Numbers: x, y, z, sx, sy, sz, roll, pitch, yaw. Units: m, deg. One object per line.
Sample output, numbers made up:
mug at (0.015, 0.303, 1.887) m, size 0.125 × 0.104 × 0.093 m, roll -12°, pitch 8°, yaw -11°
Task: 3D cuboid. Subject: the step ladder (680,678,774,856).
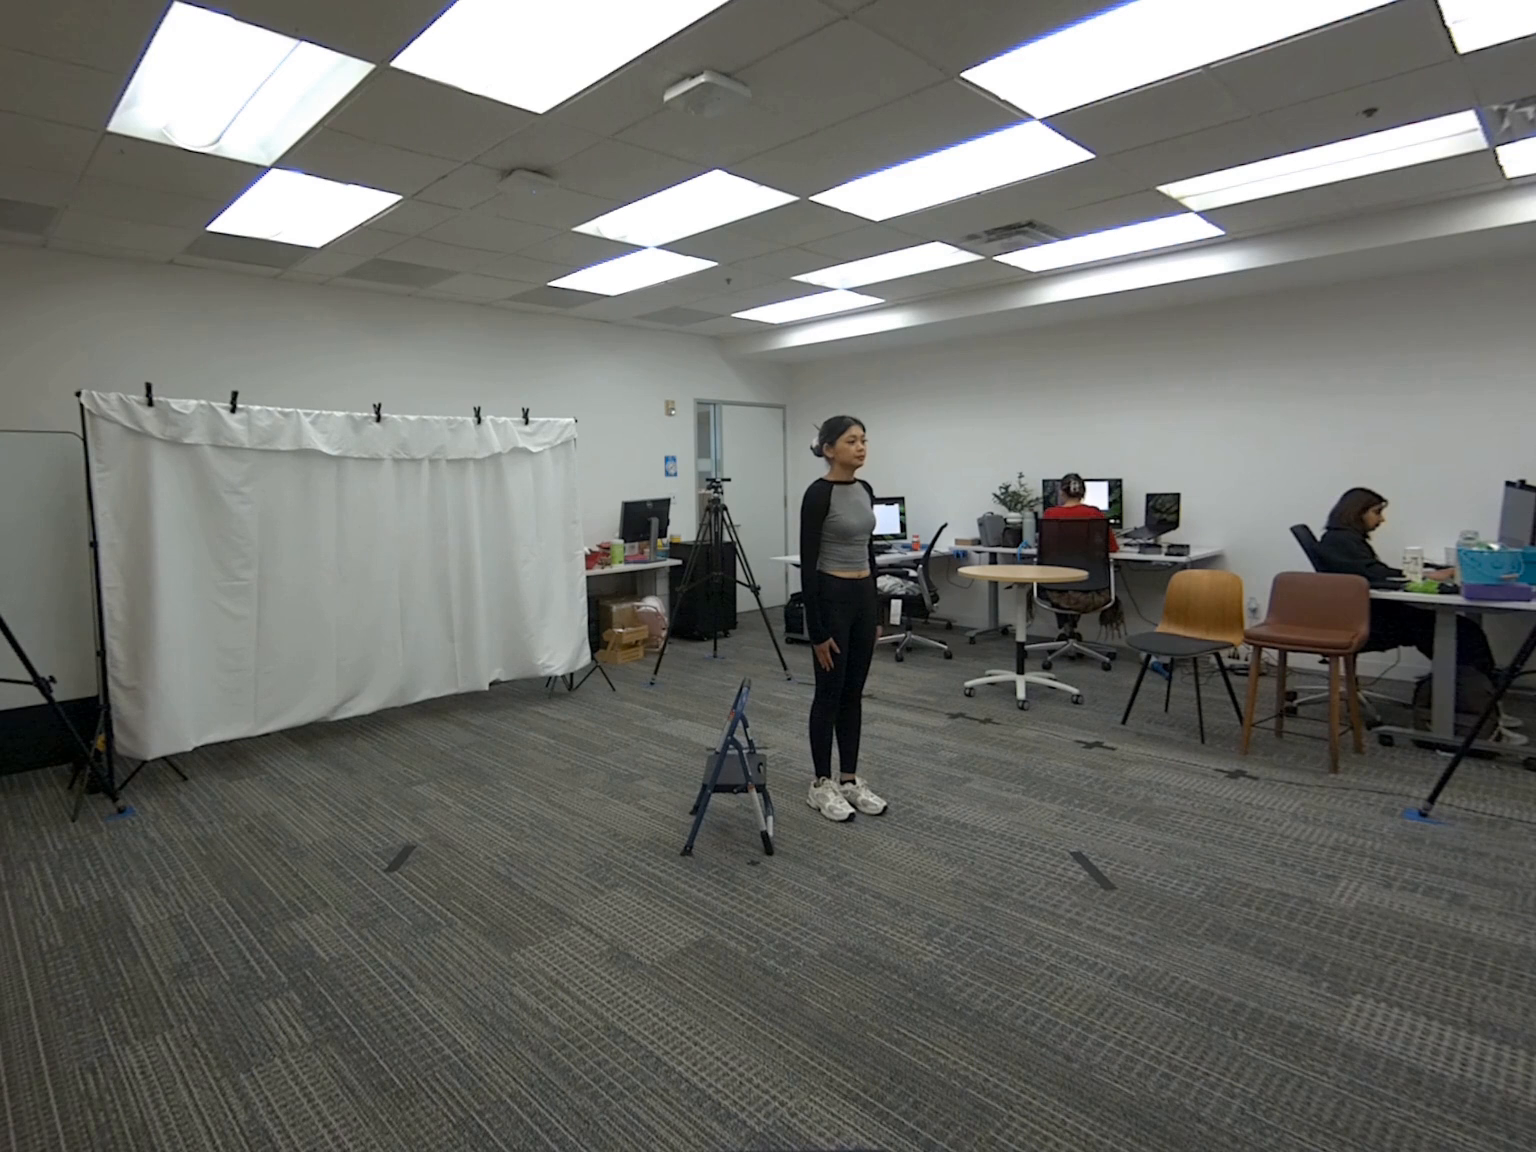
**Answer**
step ladder at (-0.152, 0.714, 3.352) m, size 0.350 × 0.604 × 0.432 m, roll -1°, pitch 5°, yaw 1°
